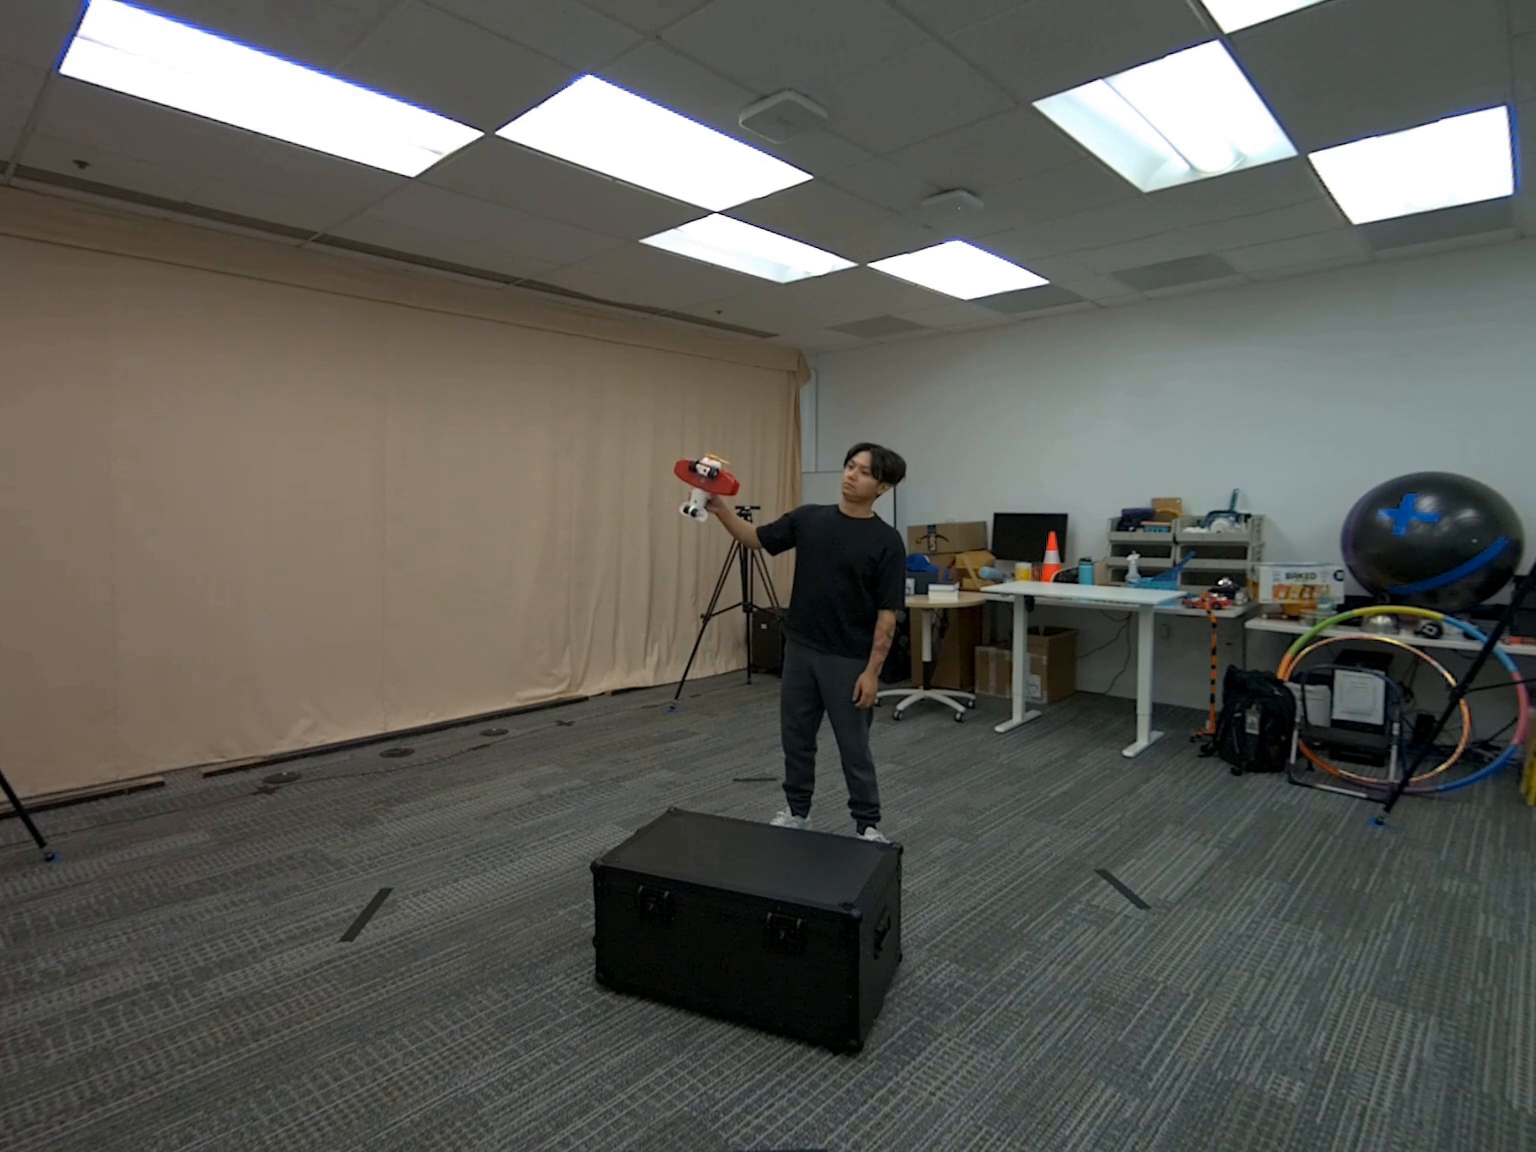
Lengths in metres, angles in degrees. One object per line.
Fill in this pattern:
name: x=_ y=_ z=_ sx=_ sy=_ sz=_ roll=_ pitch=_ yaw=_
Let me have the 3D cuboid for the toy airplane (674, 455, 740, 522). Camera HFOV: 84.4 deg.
toy airplane: x=-0.273 y=-0.359 z=3.333 sx=0.261 sy=0.251 sz=0.155 roll=-41 pitch=1 yaw=25
